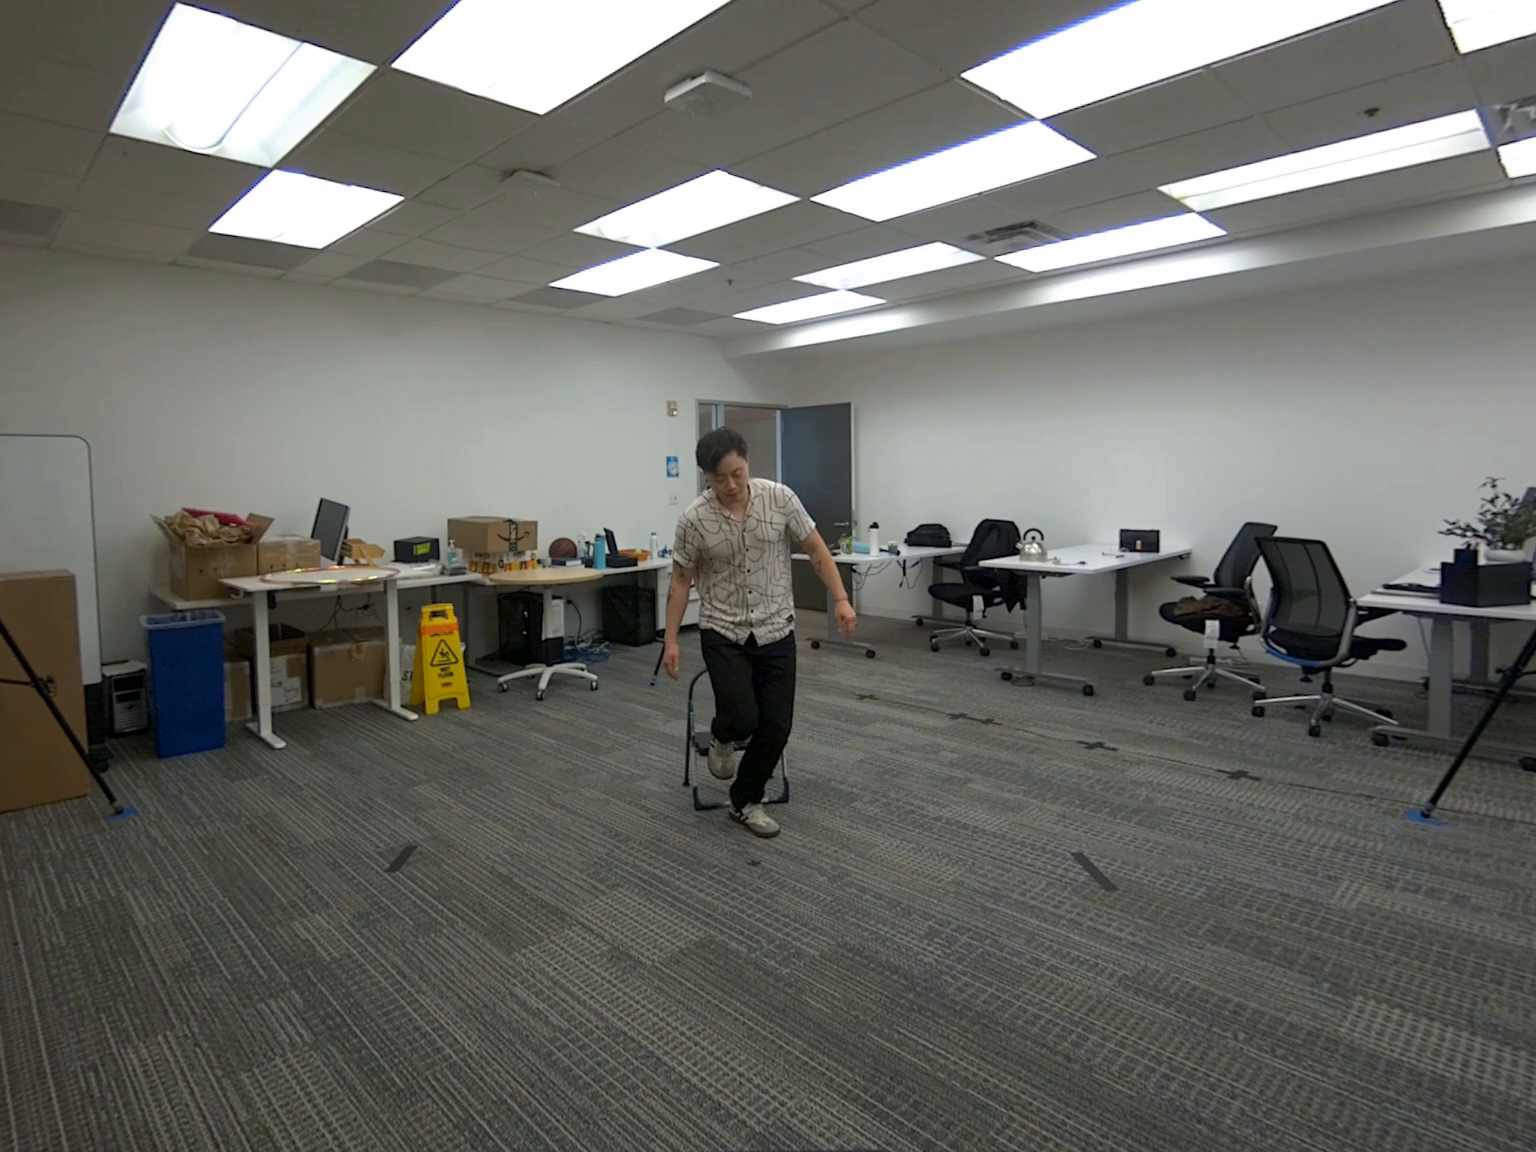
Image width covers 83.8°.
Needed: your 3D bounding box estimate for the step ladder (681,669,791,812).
[{"bbox_3d":[-0.156,0.668,3.794,0.426,0.604,0.354,-2,4,-12],"label":"step ladder"}]
